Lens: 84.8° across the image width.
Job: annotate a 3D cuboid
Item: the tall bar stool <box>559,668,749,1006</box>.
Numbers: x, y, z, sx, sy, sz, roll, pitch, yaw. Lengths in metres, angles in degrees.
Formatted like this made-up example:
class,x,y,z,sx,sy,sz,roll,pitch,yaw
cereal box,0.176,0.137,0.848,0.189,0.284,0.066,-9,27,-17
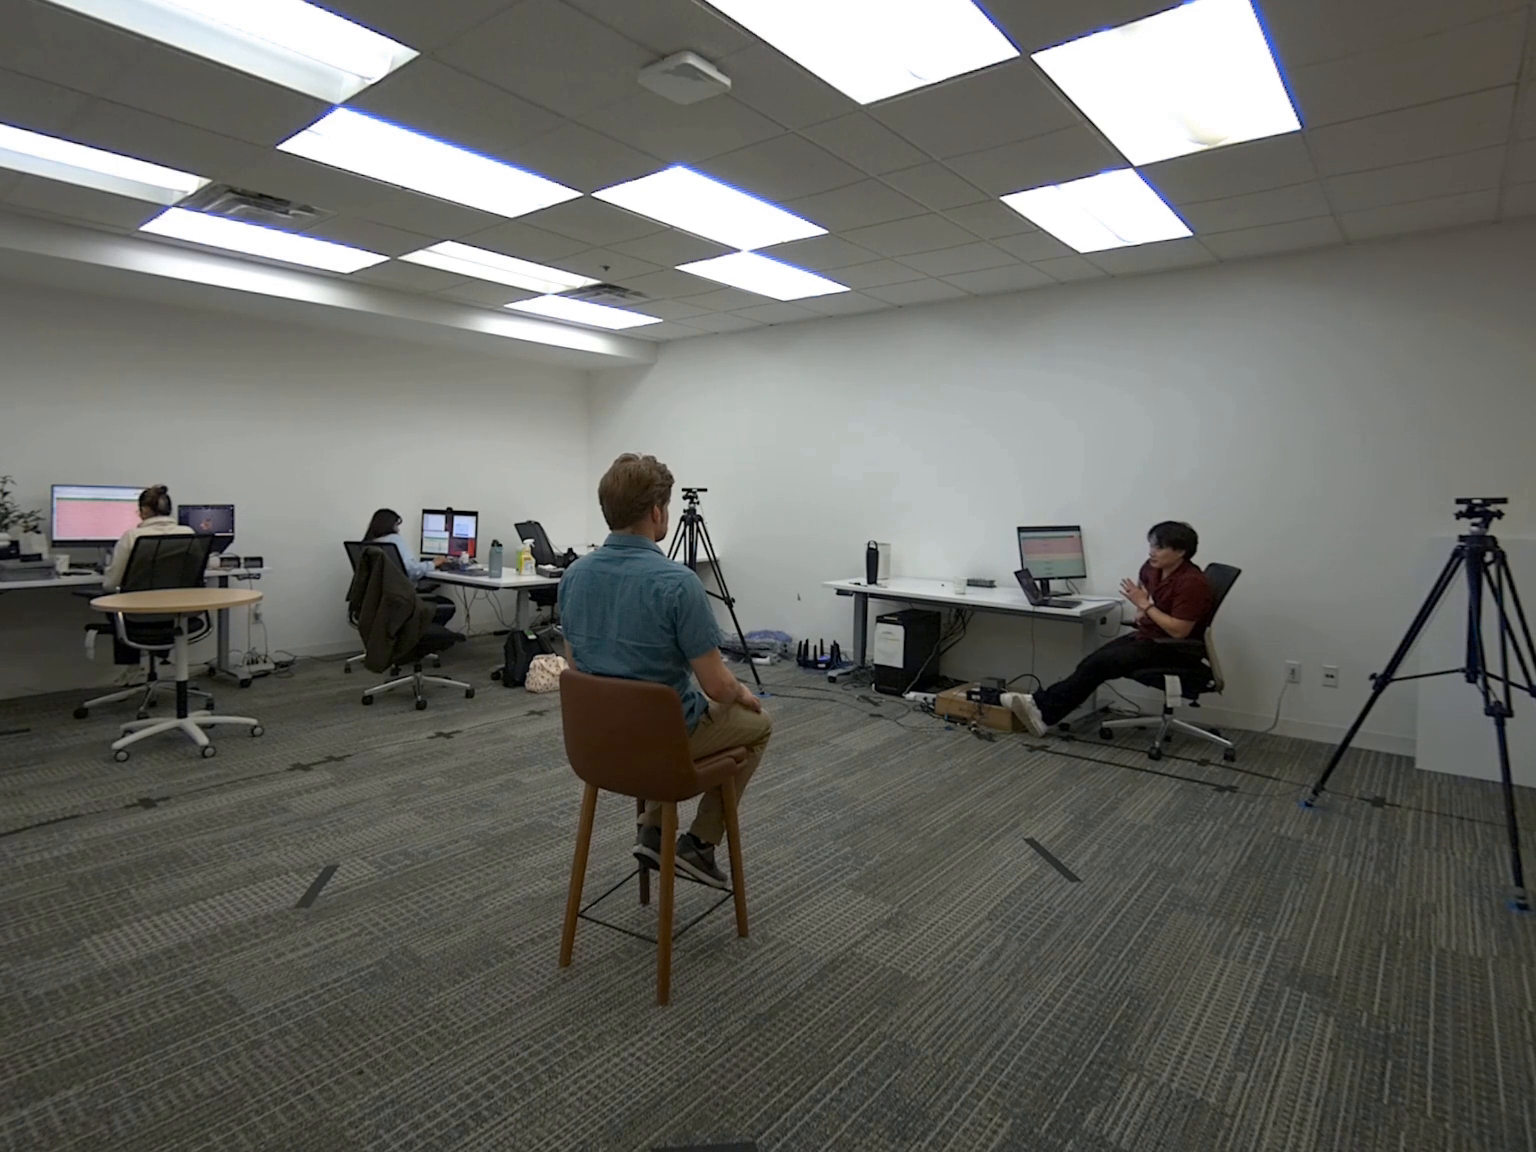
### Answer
class,x,y,z,sx,sy,sz,roll,pitch,yaw
tall bar stool,-0.351,0.687,2.536,0.470,0.885,0.456,2,6,30
